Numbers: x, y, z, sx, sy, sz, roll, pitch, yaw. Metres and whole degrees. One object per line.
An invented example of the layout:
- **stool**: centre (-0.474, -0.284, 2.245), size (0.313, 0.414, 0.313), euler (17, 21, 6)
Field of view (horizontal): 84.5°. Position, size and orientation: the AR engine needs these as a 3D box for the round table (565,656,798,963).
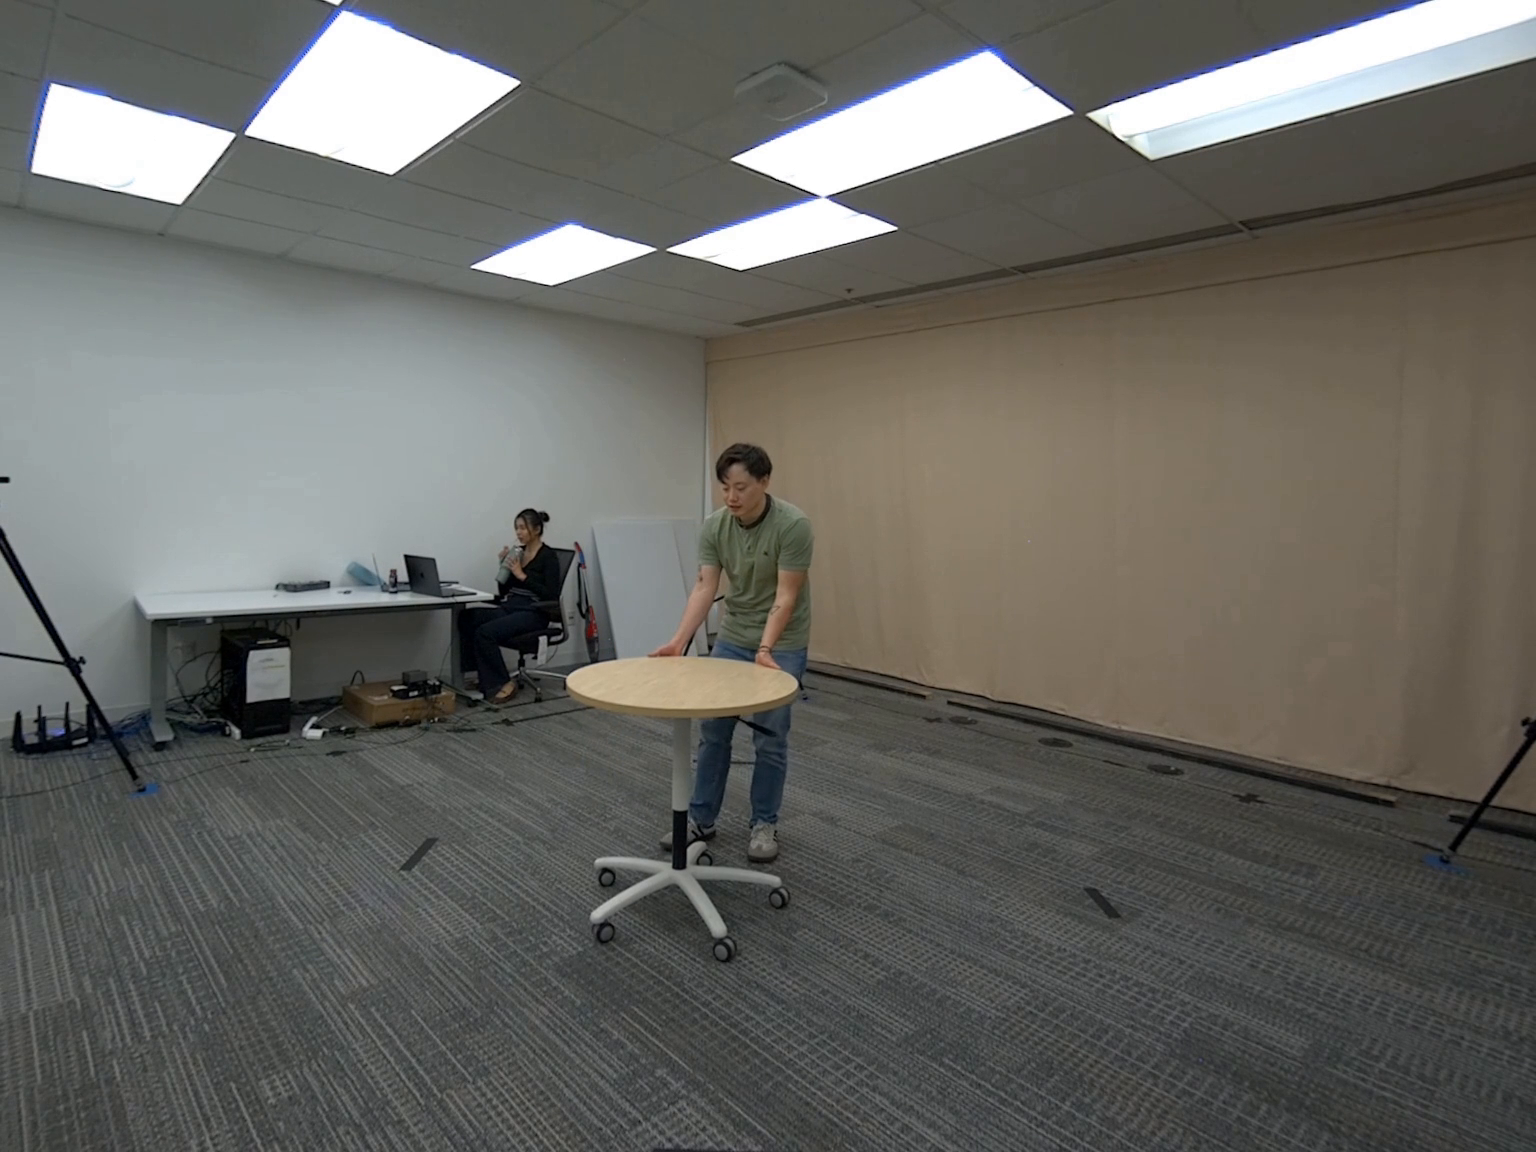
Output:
- **round table**: centre (-0.301, 0.737, 2.819), size (0.763, 0.792, 0.767), euler (1, 4, -1)
